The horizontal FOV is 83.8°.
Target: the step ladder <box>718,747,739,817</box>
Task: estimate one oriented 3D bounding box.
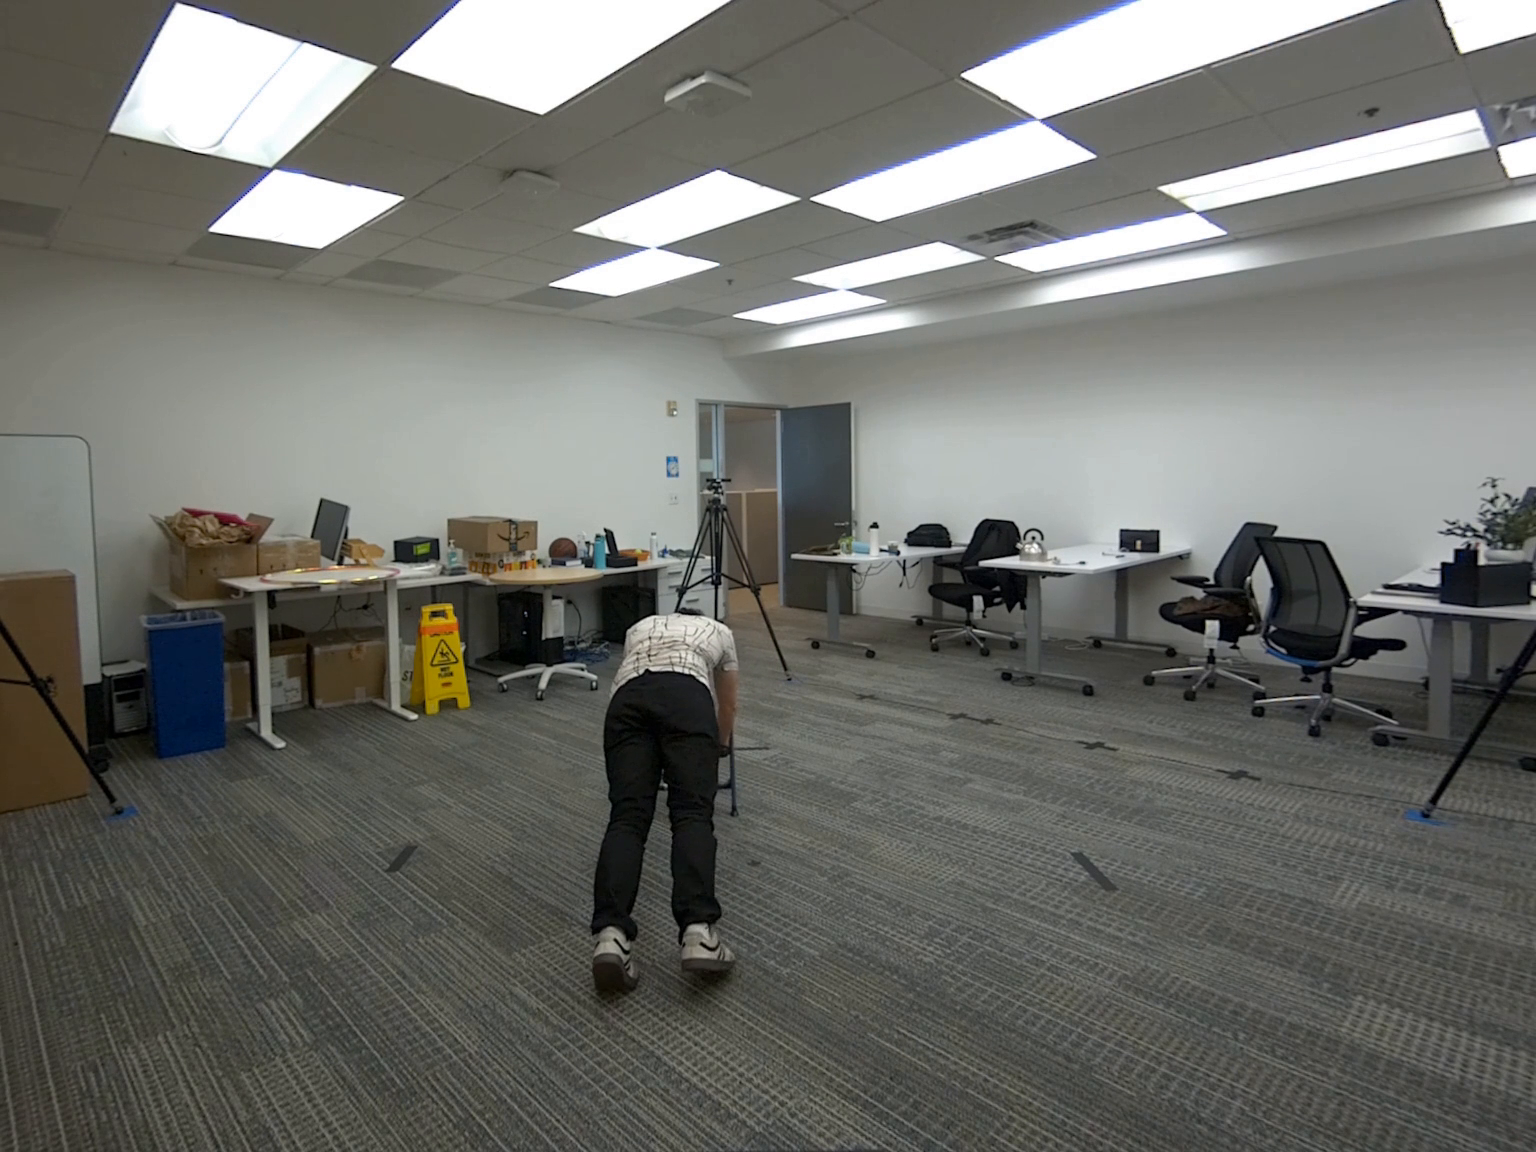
[{"bbox_3d":[-0.353,0.682,3.701,0.430,0.604,0.351,-1,4,-3],"label":"step ladder"}]
